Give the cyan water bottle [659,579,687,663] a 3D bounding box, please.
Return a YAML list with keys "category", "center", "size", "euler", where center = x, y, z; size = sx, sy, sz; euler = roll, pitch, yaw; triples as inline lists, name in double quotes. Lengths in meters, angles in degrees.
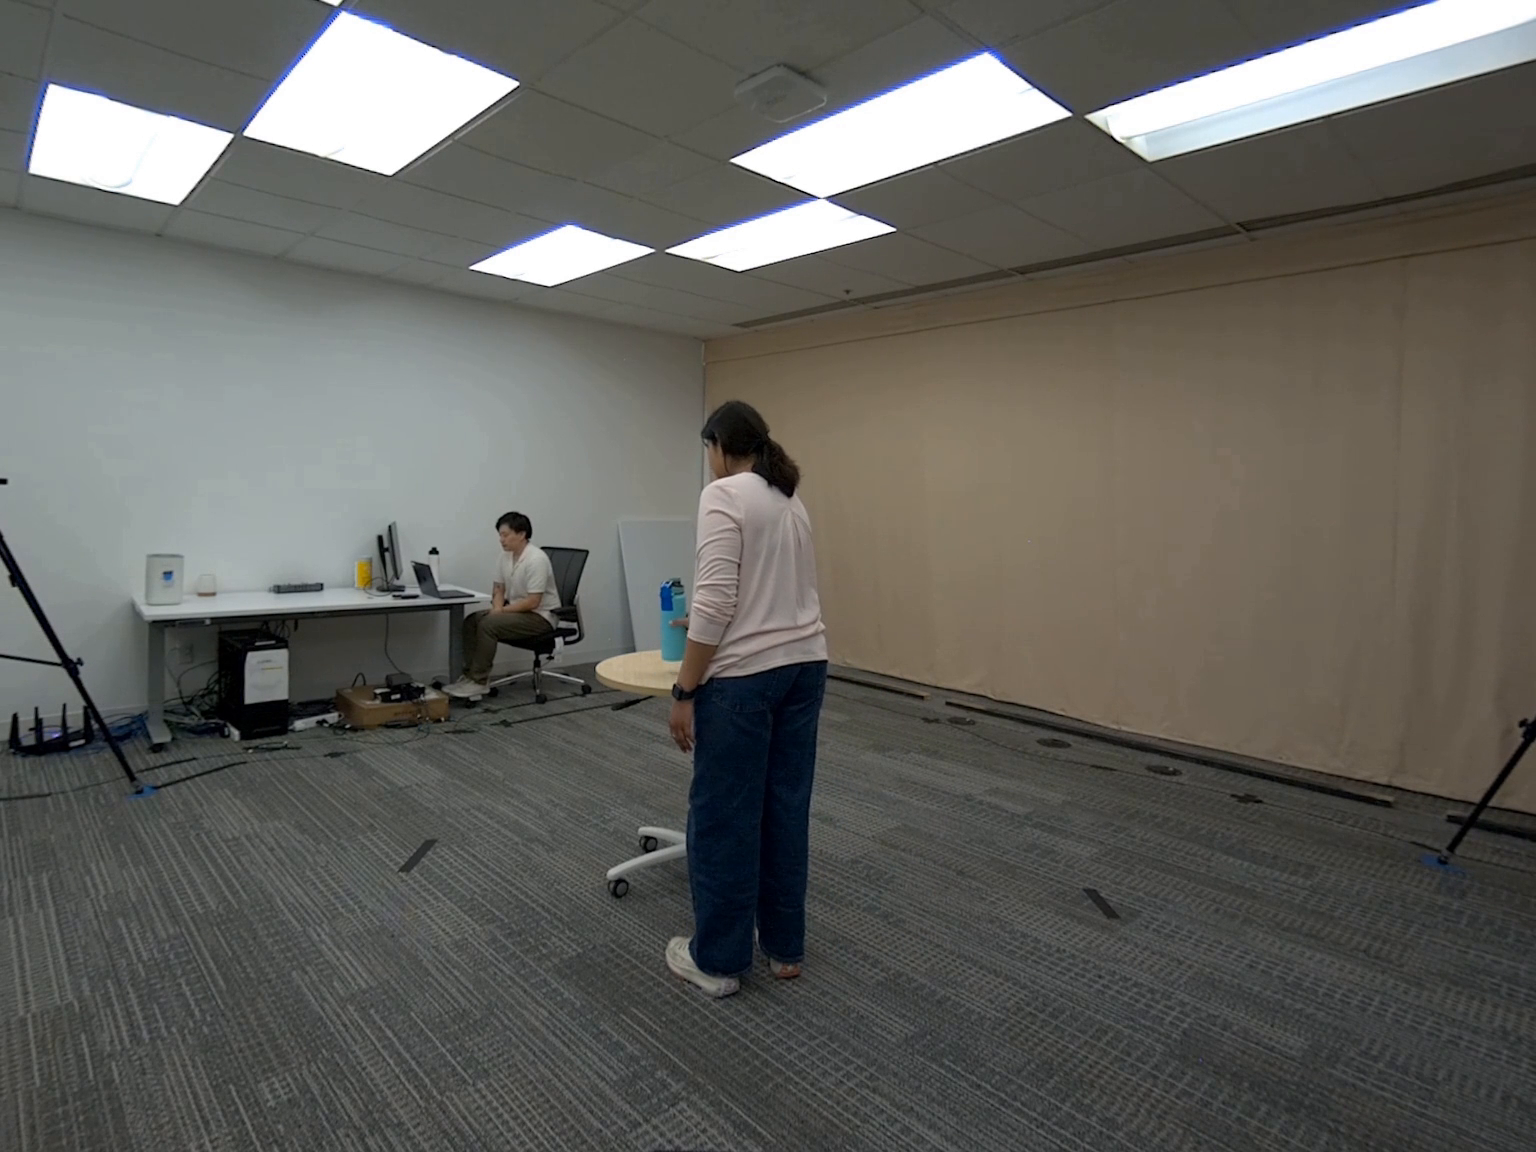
- category: "cyan water bottle"
  center: [-0.338, 0.147, 2.890]
  size: [0.092, 0.282, 0.093]
  euler: [-3, 7, -1]
